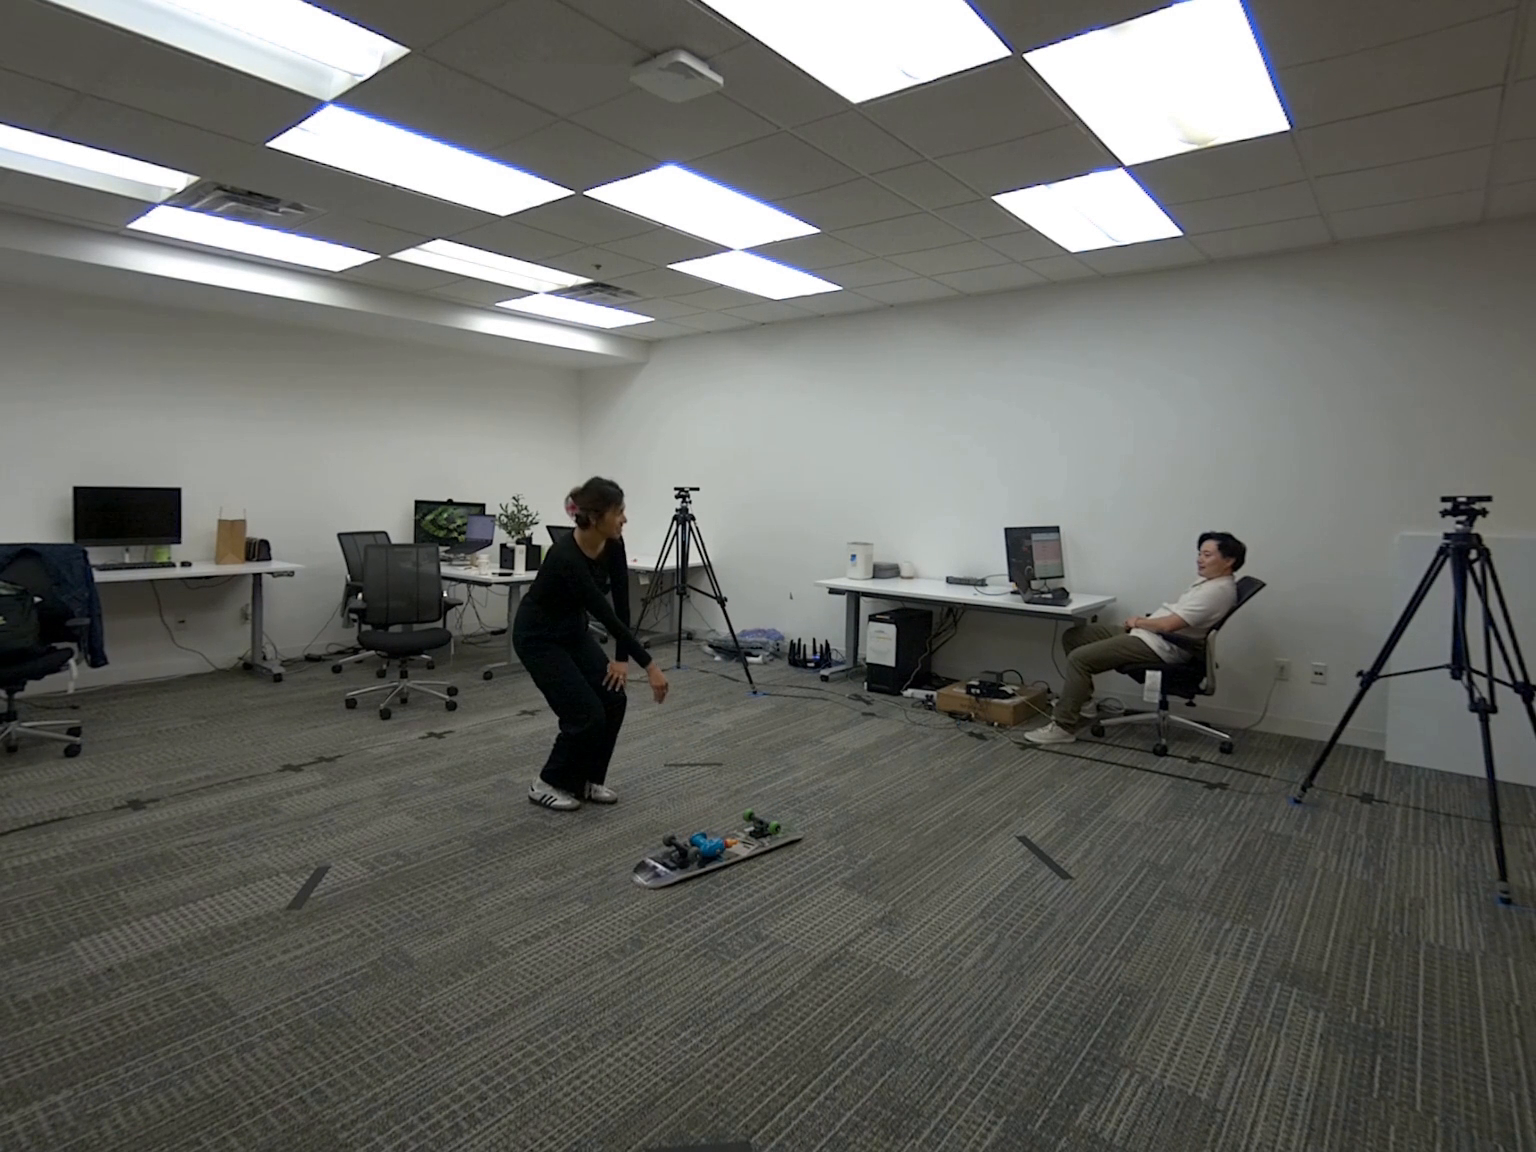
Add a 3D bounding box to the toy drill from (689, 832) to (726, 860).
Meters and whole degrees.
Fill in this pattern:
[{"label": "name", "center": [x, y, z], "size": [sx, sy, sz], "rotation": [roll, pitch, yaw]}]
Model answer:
[{"label": "toy drill", "center": [-0.208, 0.996, 3.185], "size": [0.166, 0.061, 0.150], "rotation": [-9, 8, -28]}]
